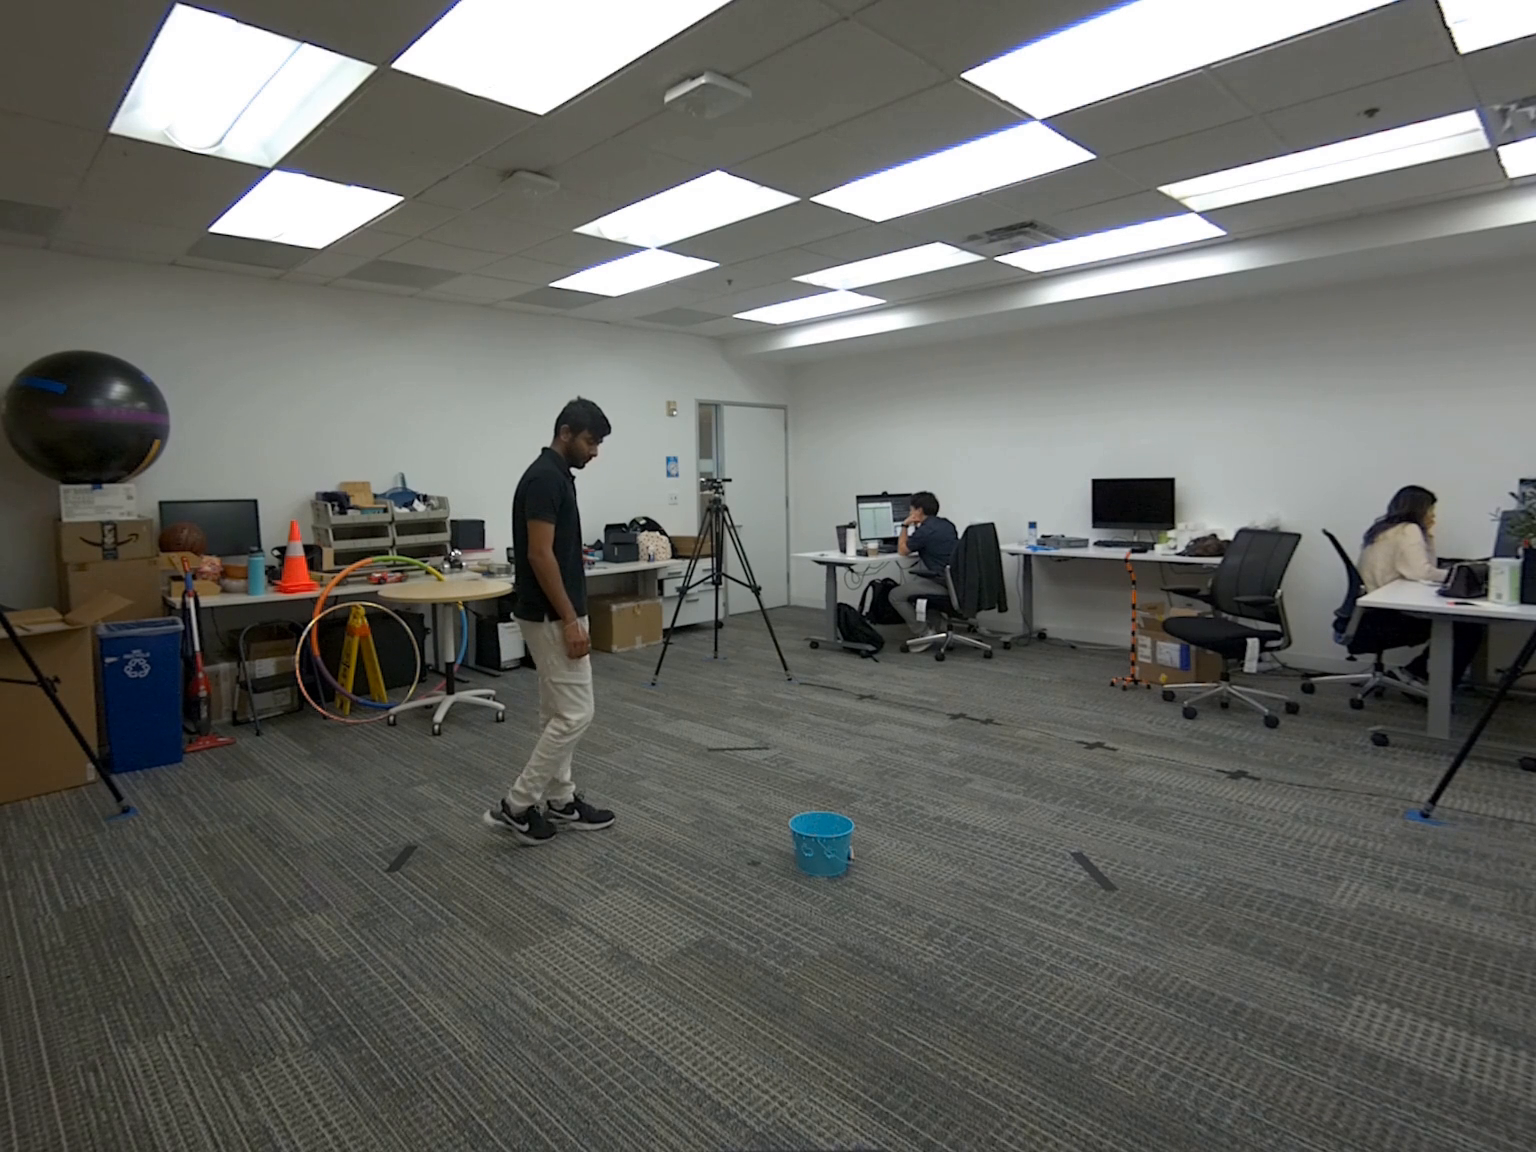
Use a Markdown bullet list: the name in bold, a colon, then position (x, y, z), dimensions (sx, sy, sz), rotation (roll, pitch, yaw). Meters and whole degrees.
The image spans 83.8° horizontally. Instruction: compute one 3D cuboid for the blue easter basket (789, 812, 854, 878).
- **blue easter basket**: position (0.200, 0.965, 3.075), dimensions (0.243, 0.155, 0.245), rotation (-1, 5, -2)
